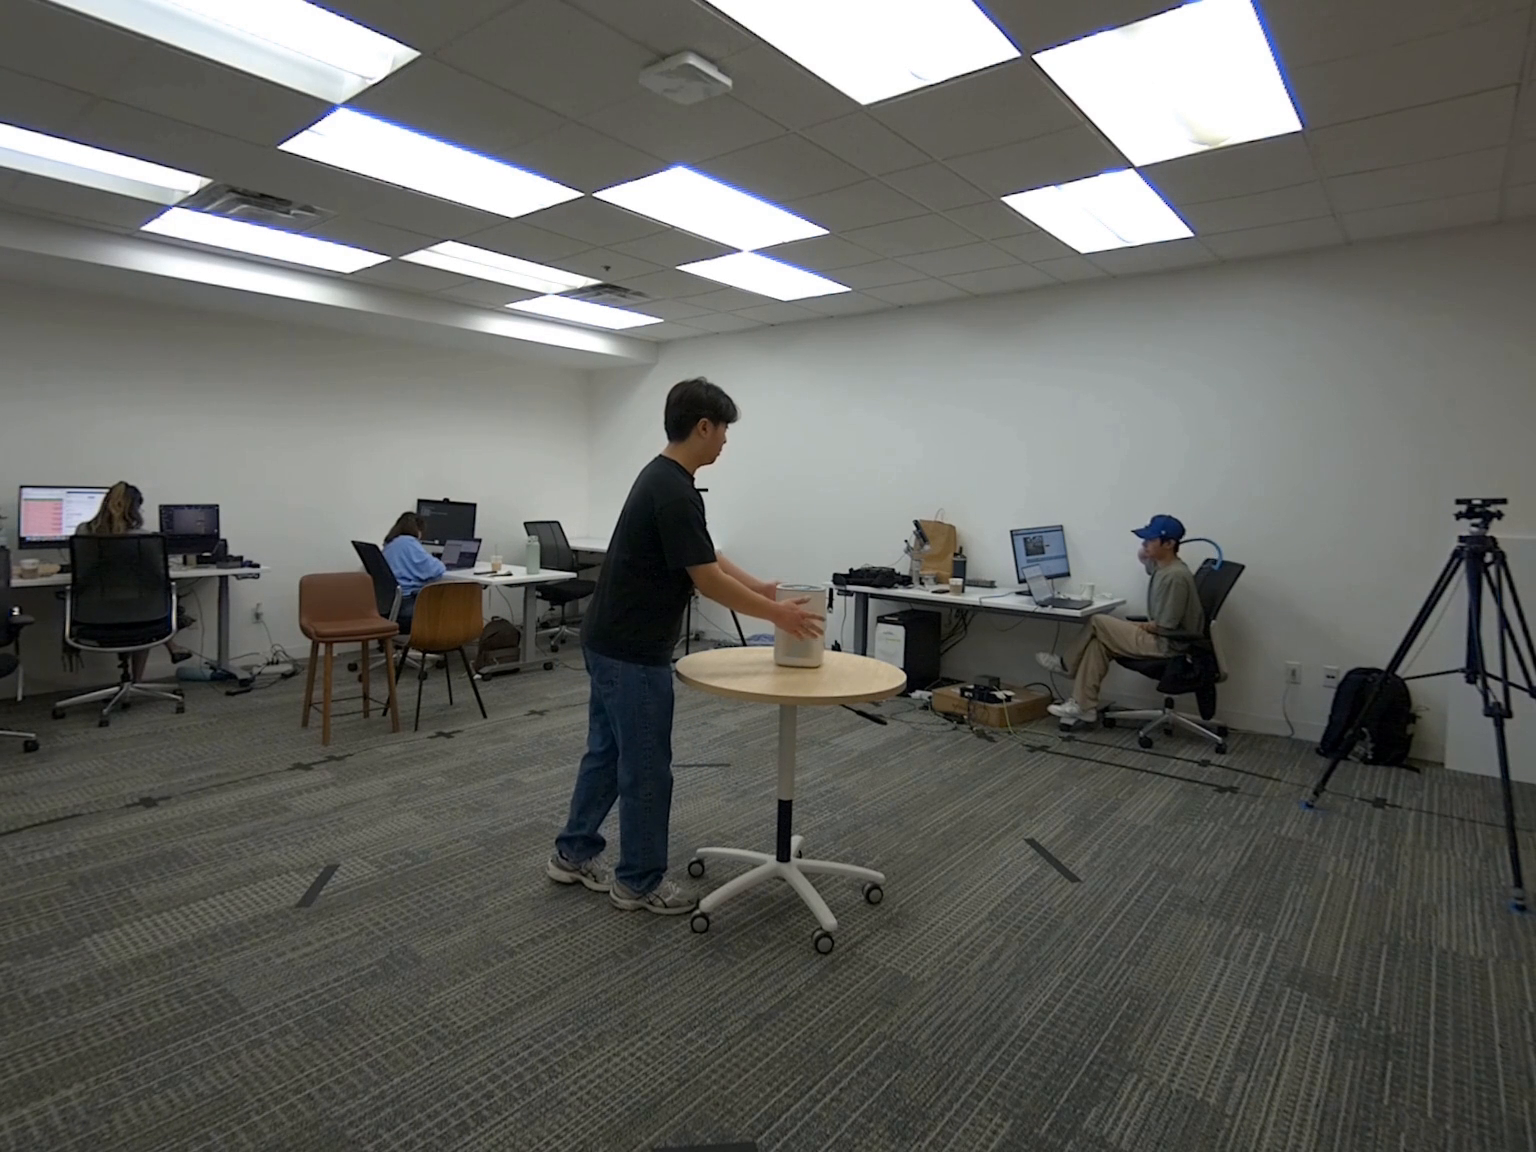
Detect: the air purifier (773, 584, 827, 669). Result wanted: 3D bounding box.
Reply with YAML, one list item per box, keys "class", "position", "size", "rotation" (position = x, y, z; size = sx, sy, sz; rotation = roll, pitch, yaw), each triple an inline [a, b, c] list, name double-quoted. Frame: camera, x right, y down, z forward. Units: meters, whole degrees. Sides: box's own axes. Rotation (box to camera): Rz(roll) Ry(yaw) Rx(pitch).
- class: "air purifier"
  position: [0.099, 0.169, 2.919]
  size: [0.173, 0.264, 0.170]
  rotation: [2, 4, 6]
